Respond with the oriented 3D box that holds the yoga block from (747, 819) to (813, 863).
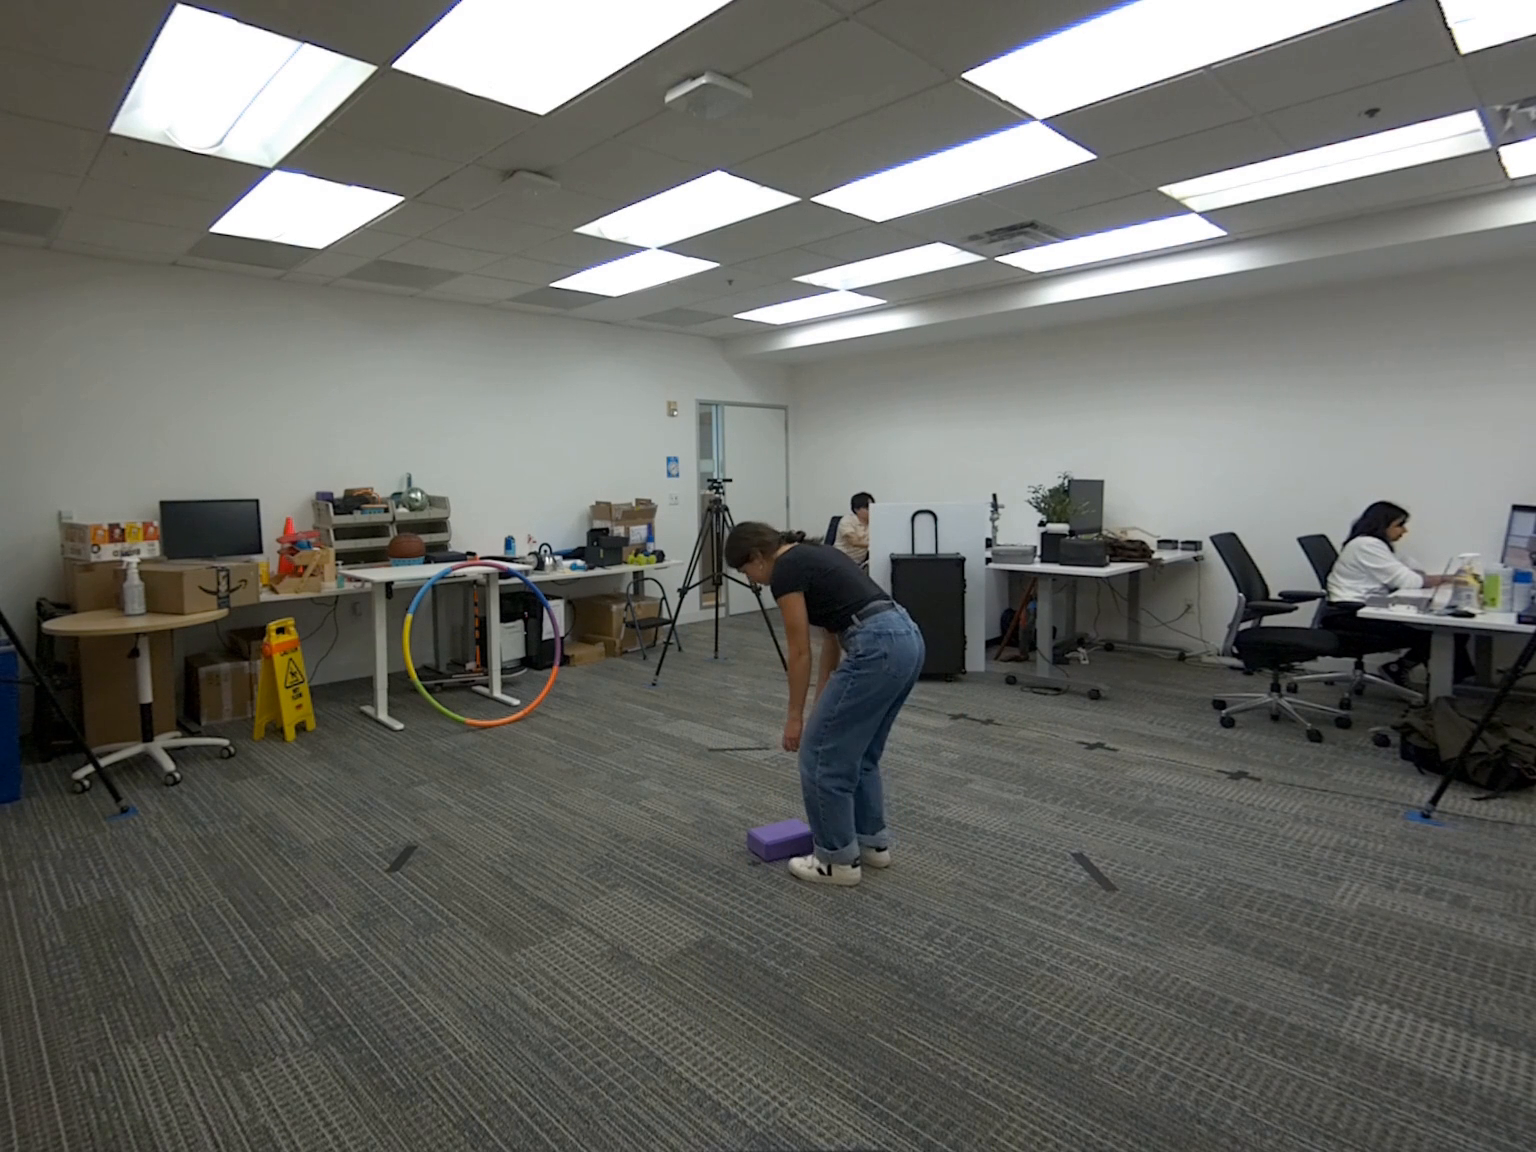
[{"bbox_3d":[0.058,0.990,3.226,0.224,0.076,0.153,-4,6,-29],"label":"yoga block"}]
